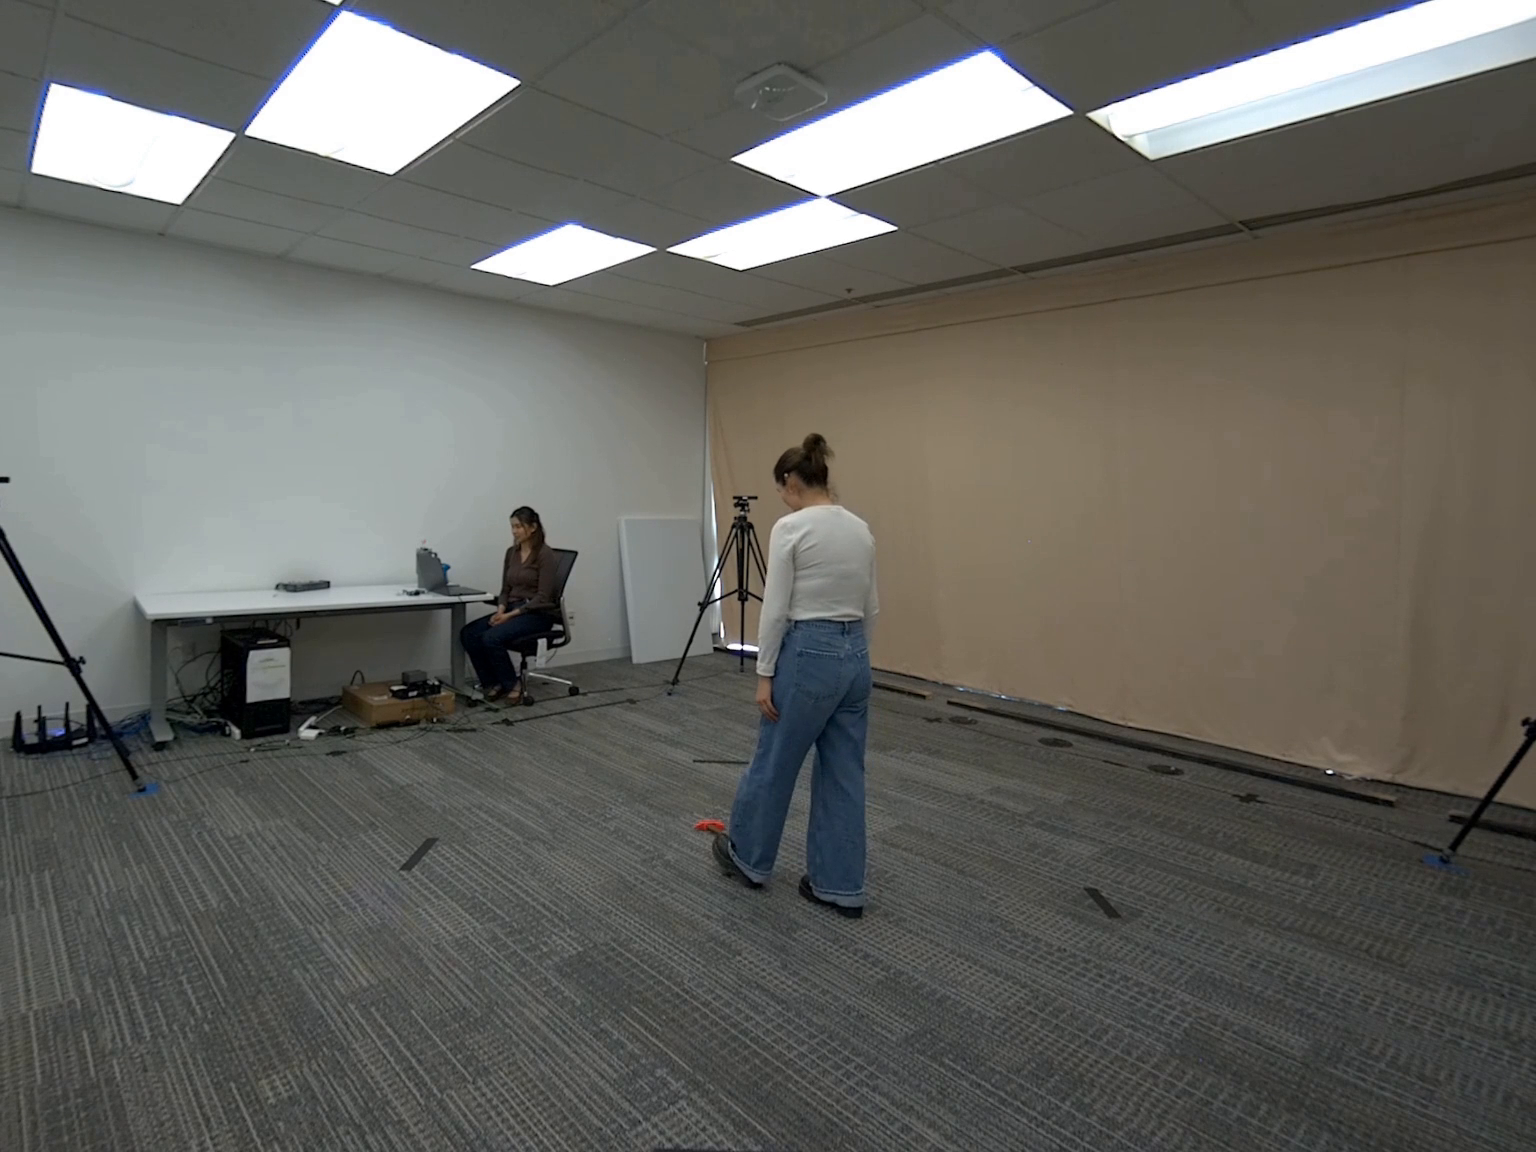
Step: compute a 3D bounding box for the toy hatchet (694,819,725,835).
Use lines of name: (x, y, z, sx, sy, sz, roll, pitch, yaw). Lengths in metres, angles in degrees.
toy hatchet: (-0.175, 1.056, 3.477, 0.277, 0.029, 0.128, 7, 4, 36)
